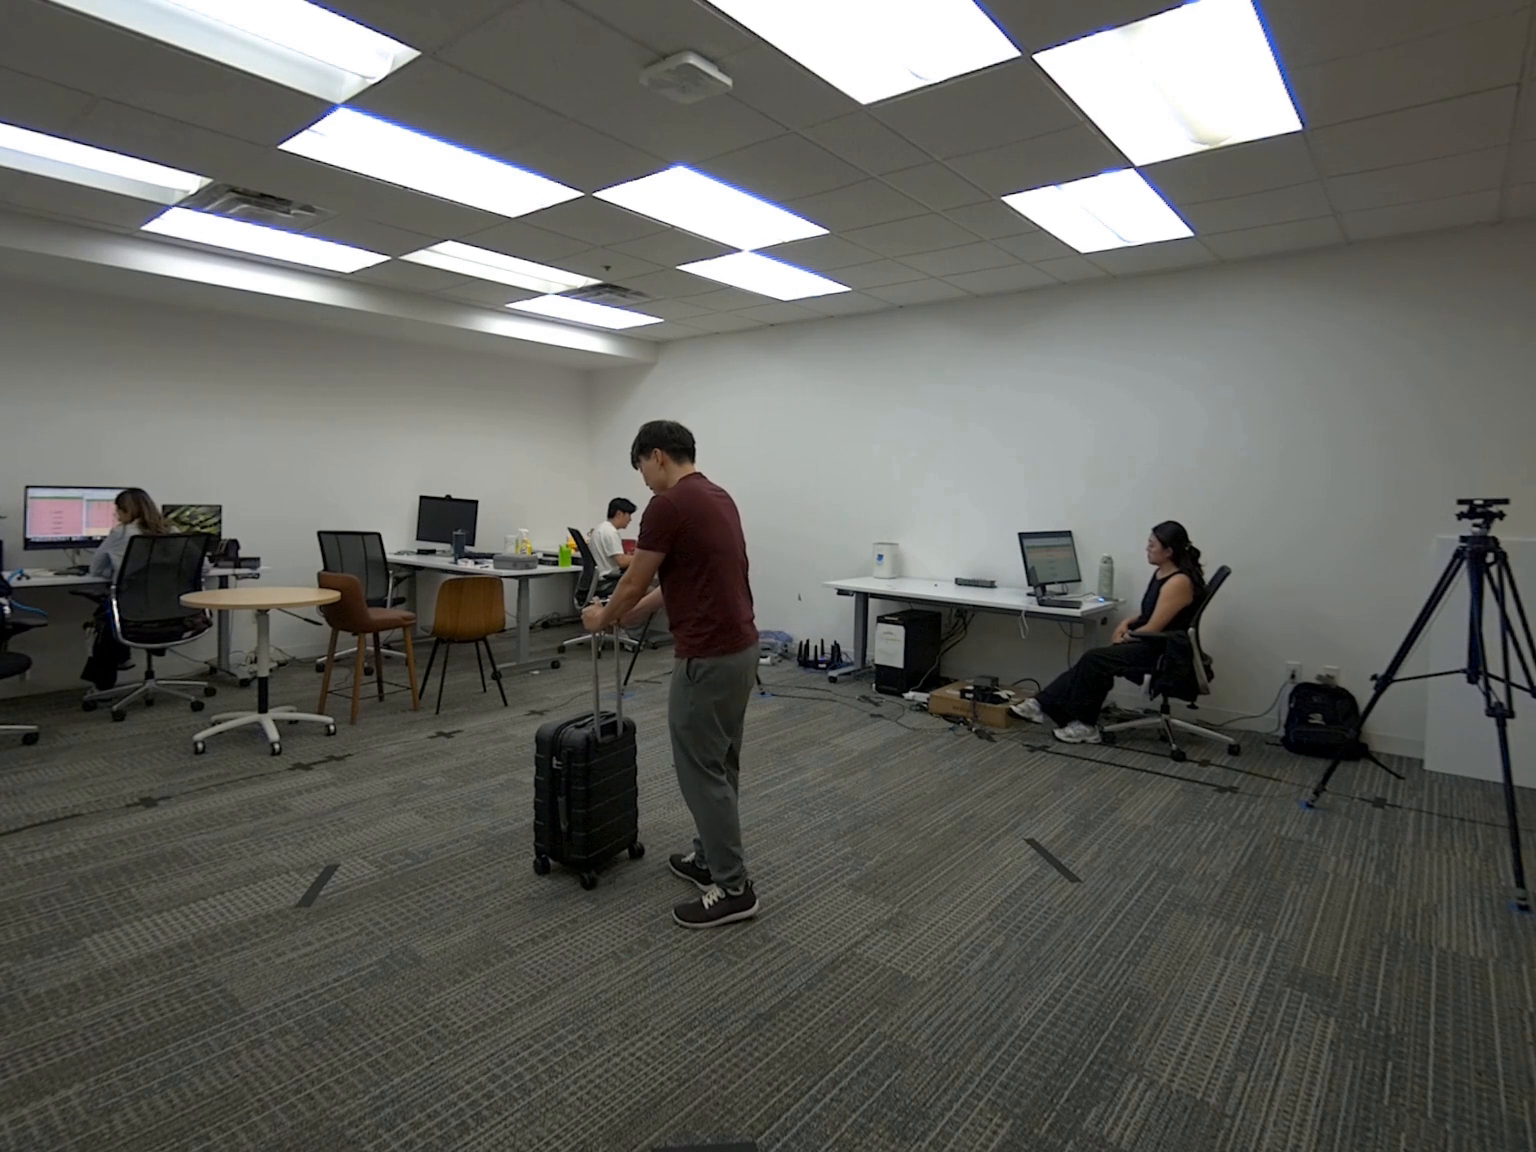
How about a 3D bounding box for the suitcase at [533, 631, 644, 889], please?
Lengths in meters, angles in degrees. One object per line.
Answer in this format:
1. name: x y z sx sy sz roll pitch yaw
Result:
1. suitcase: -0.693 0.585 3.137 0.264 0.978 0.374 -2 1 28
